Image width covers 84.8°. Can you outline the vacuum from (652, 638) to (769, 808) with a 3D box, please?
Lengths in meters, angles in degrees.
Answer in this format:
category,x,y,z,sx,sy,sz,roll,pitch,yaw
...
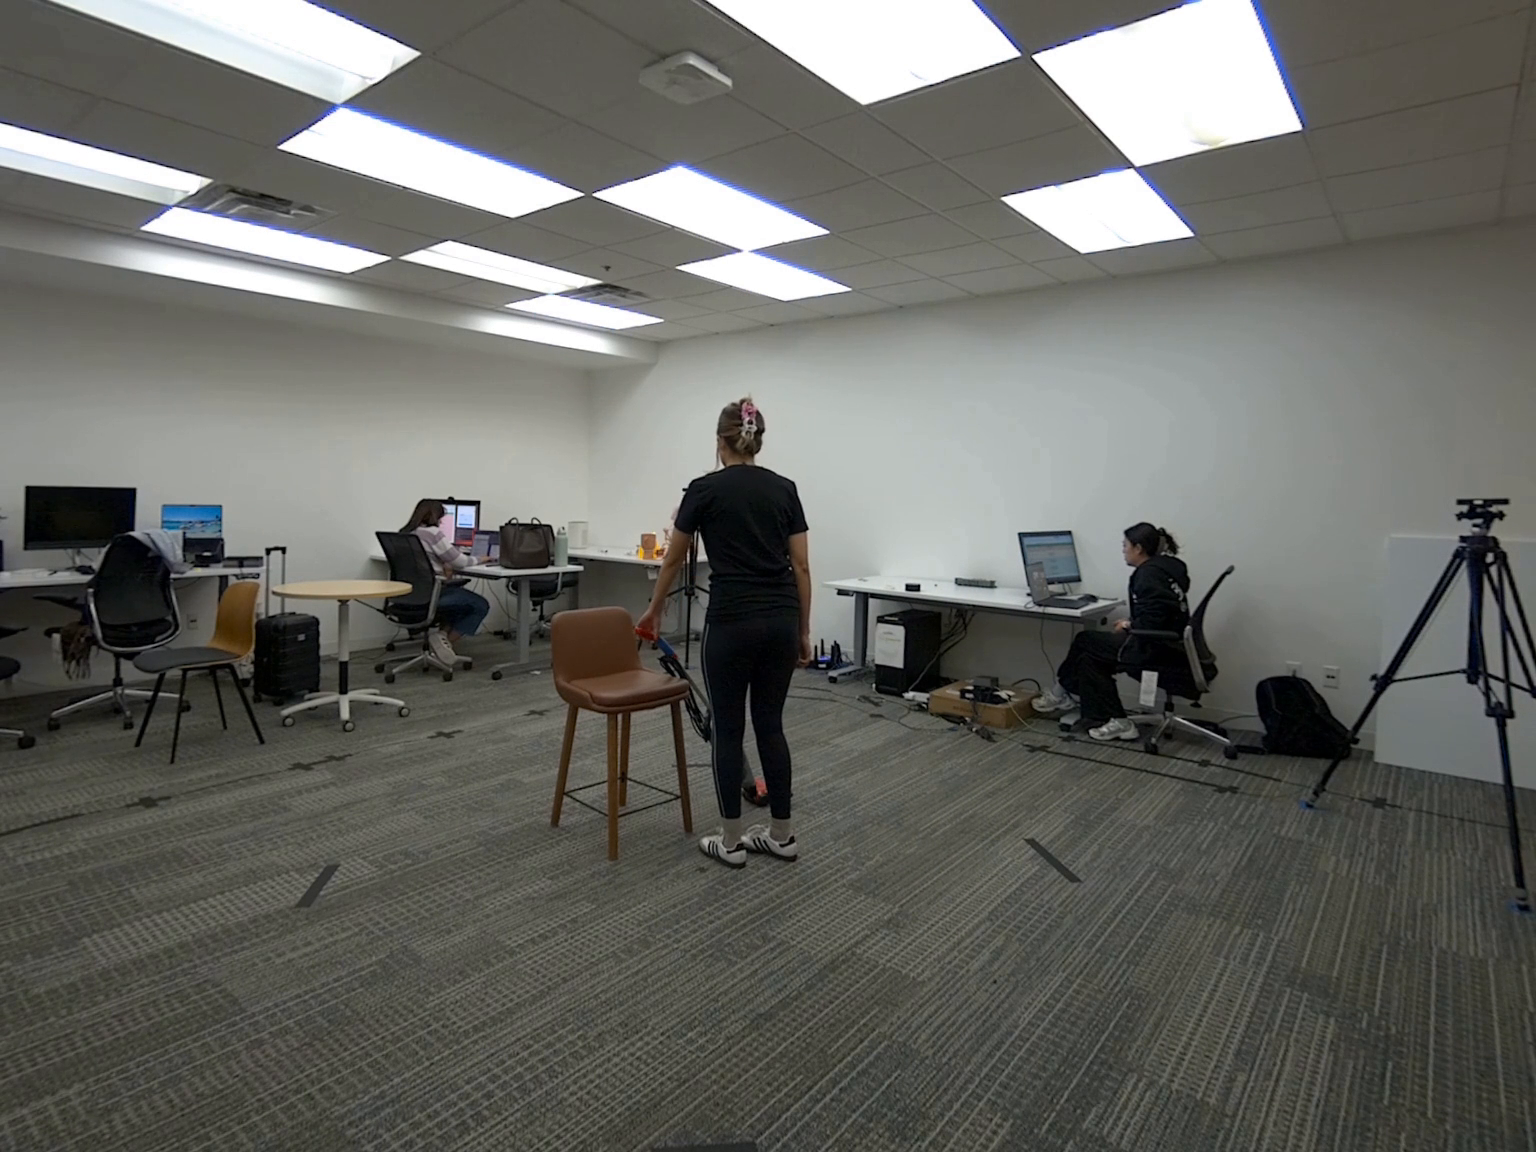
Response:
category,x,y,z,sx,sy,sz,roll,pitch,yaw
vacuum,-0.273,0.604,3.610,0.261,1.015,0.144,1,42,48
